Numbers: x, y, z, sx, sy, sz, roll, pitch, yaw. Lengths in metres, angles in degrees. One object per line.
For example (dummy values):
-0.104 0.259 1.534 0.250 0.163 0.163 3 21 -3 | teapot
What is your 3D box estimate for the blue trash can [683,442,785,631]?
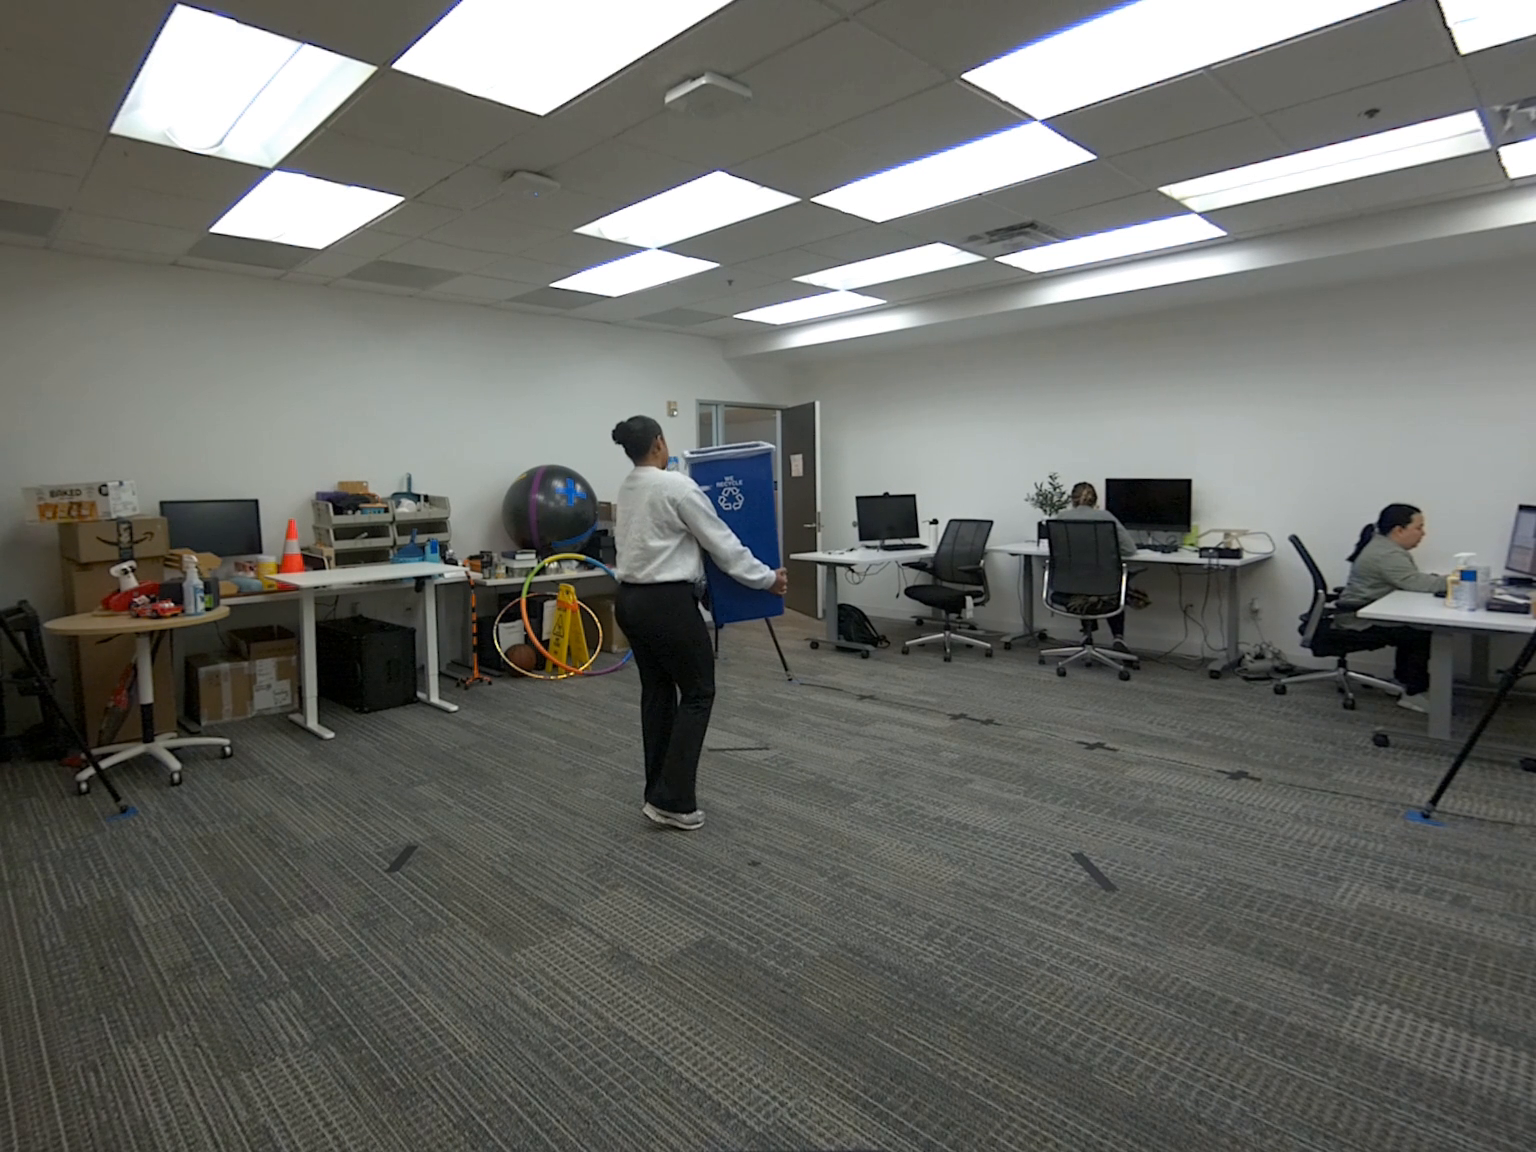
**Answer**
-0.134 -0.191 3.654 0.376 0.707 0.379 -8 9 -7 | blue trash can
